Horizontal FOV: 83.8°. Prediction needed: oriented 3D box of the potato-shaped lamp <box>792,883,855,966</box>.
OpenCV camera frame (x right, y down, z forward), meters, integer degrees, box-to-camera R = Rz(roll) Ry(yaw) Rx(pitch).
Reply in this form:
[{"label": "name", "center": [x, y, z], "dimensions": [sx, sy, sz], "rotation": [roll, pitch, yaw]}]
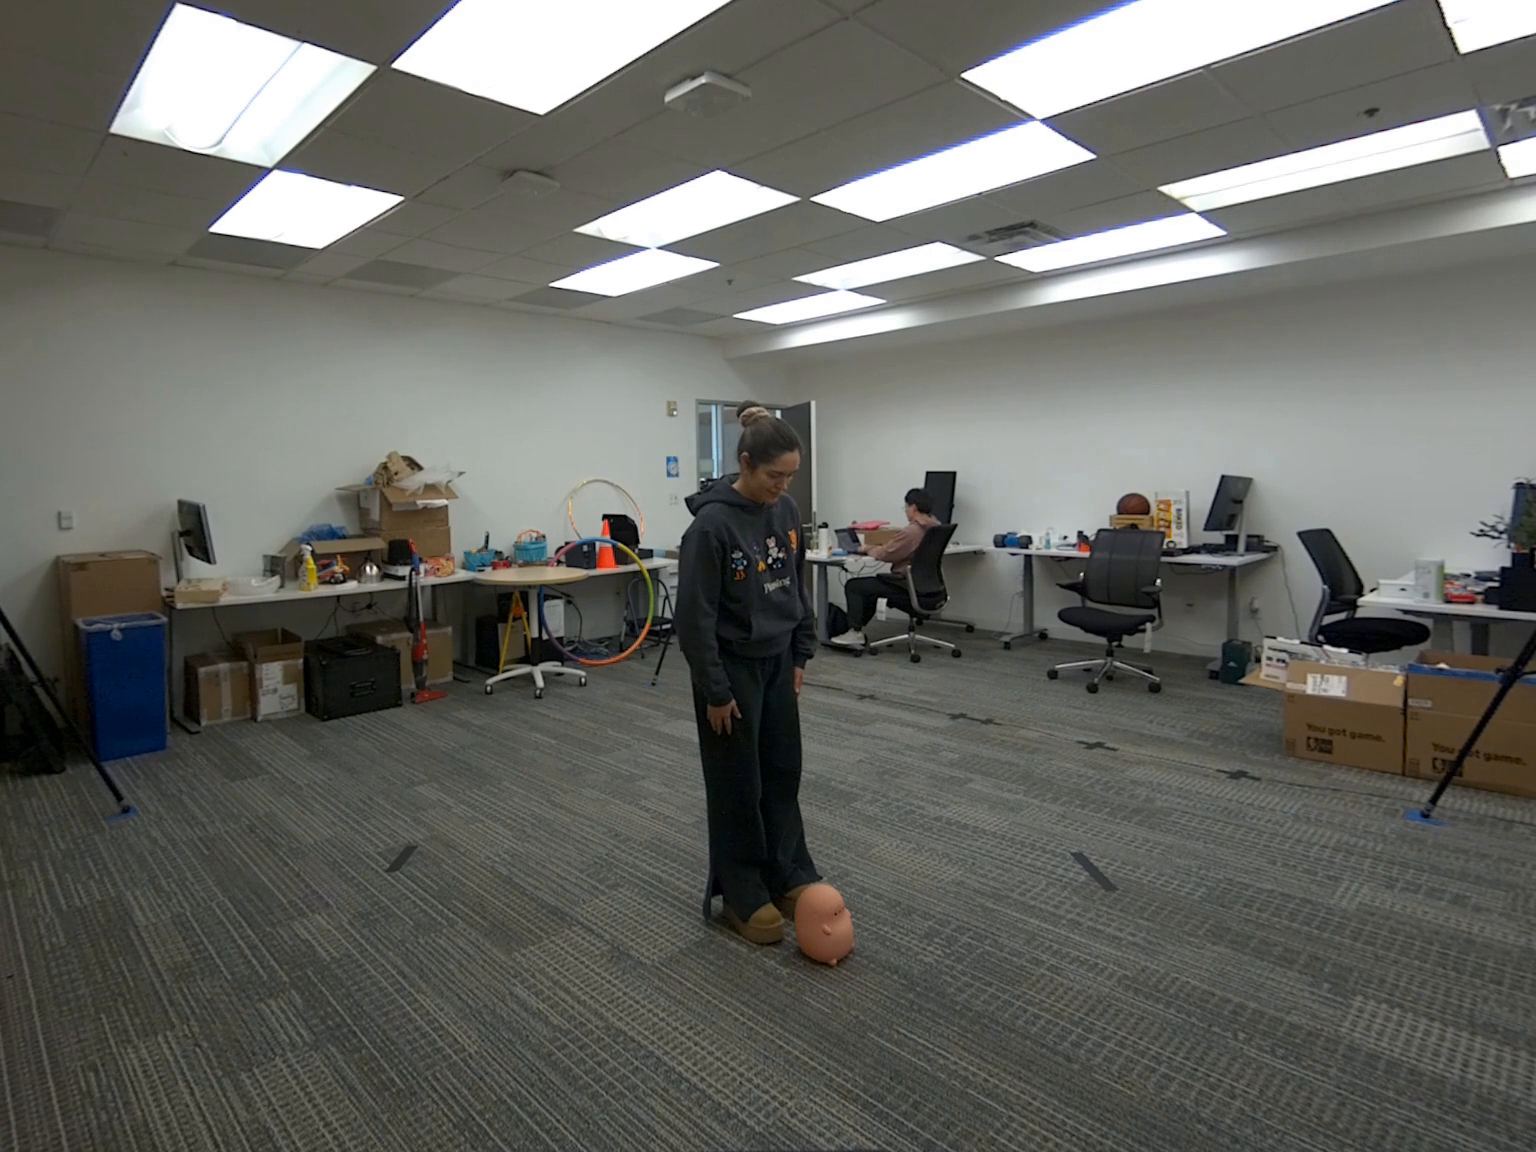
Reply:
[{"label": "potato-shaped lamp", "center": [0.171, 1.008, 2.502], "dimensions": [0.176, 0.197, 0.161], "rotation": [2, 7, 36]}]
